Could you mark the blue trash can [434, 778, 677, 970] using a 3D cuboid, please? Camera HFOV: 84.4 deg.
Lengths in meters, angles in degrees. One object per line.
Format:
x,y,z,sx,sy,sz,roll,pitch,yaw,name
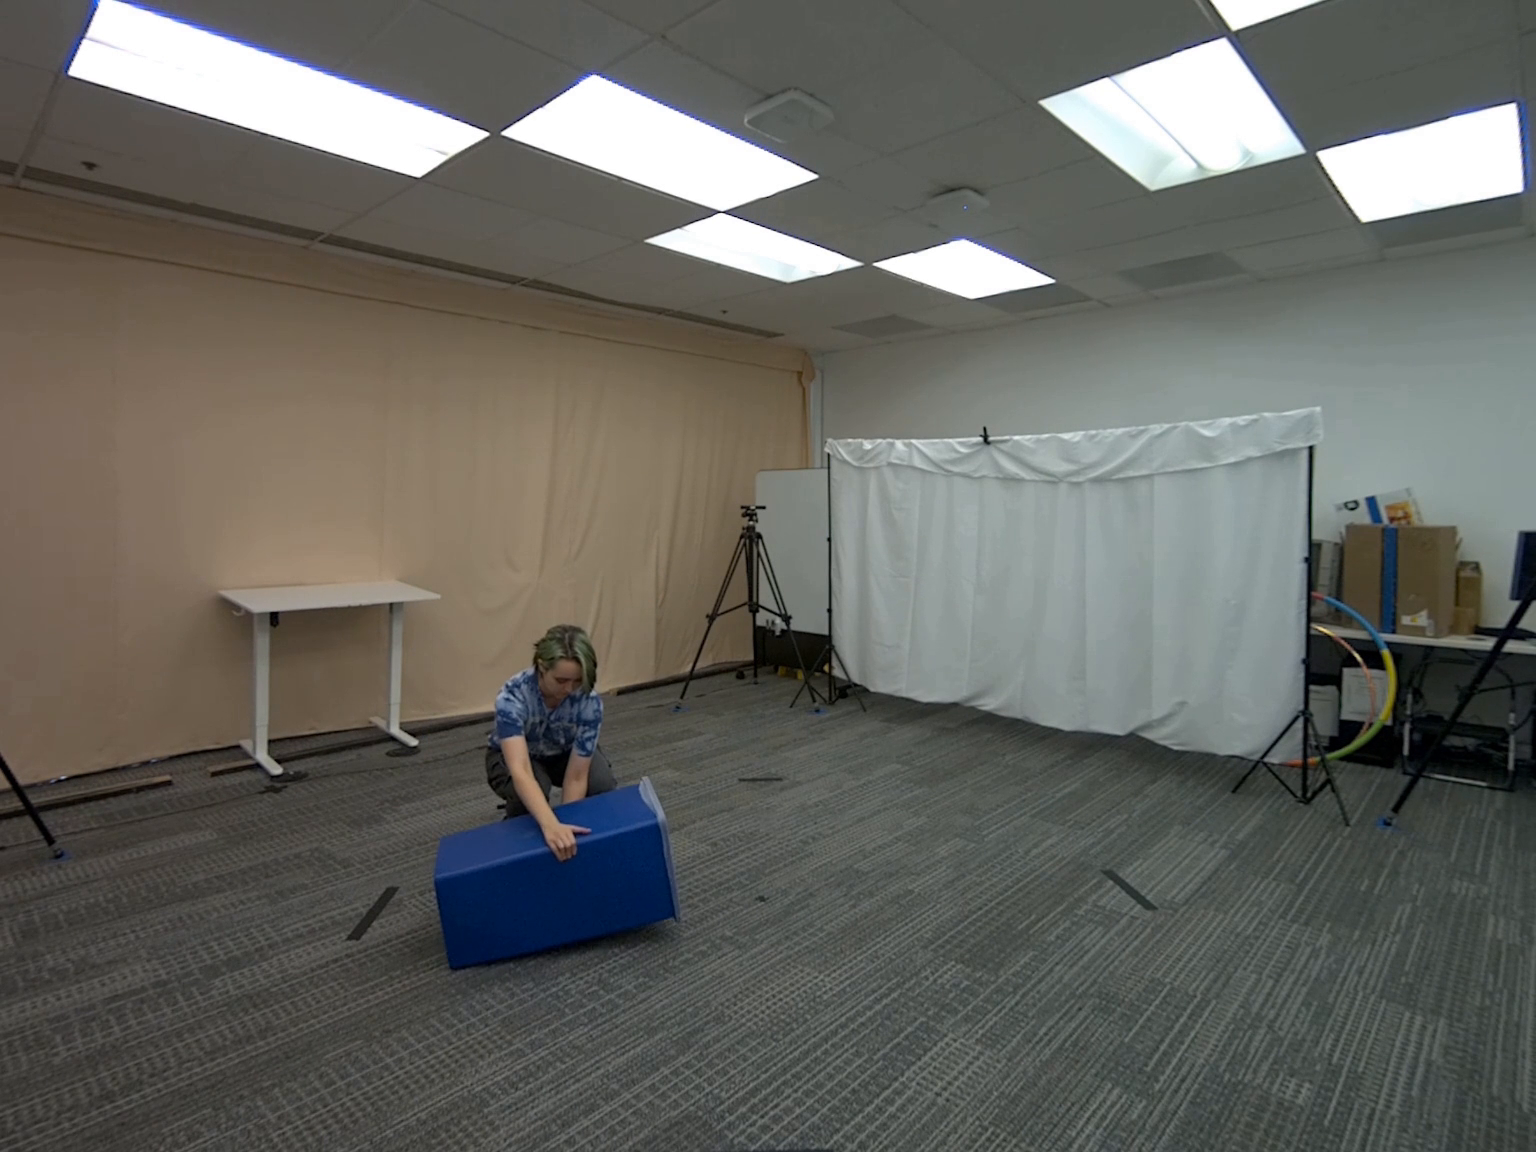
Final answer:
-0.676,0.957,2.725,0.704,0.372,0.385,-10,8,-14,blue trash can
